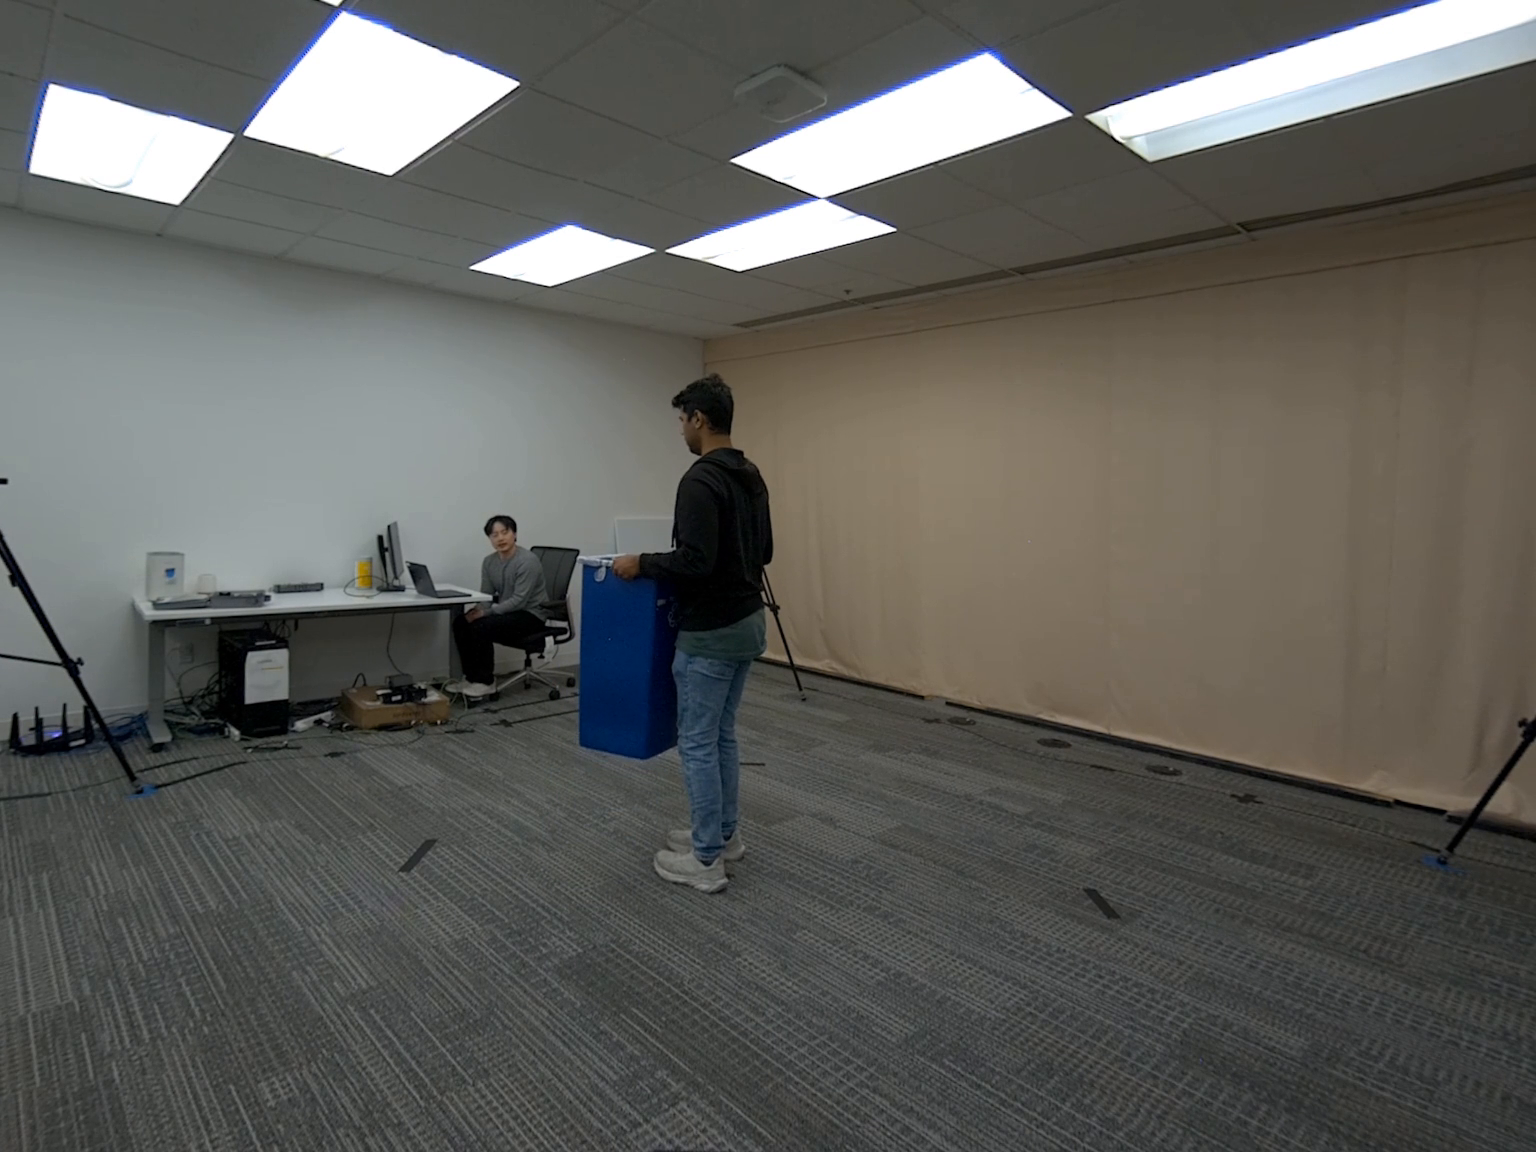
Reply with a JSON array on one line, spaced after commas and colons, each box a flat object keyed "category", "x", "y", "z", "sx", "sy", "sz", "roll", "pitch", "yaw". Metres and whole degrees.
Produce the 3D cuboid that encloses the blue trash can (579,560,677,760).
[{"category": "blue trash can", "x": -0.499, "y": 0.294, "z": 3.232, "sx": 0.386, "sy": 0.712, "sz": 0.367, "roll": 5, "pitch": 2, "yaw": 26}]
